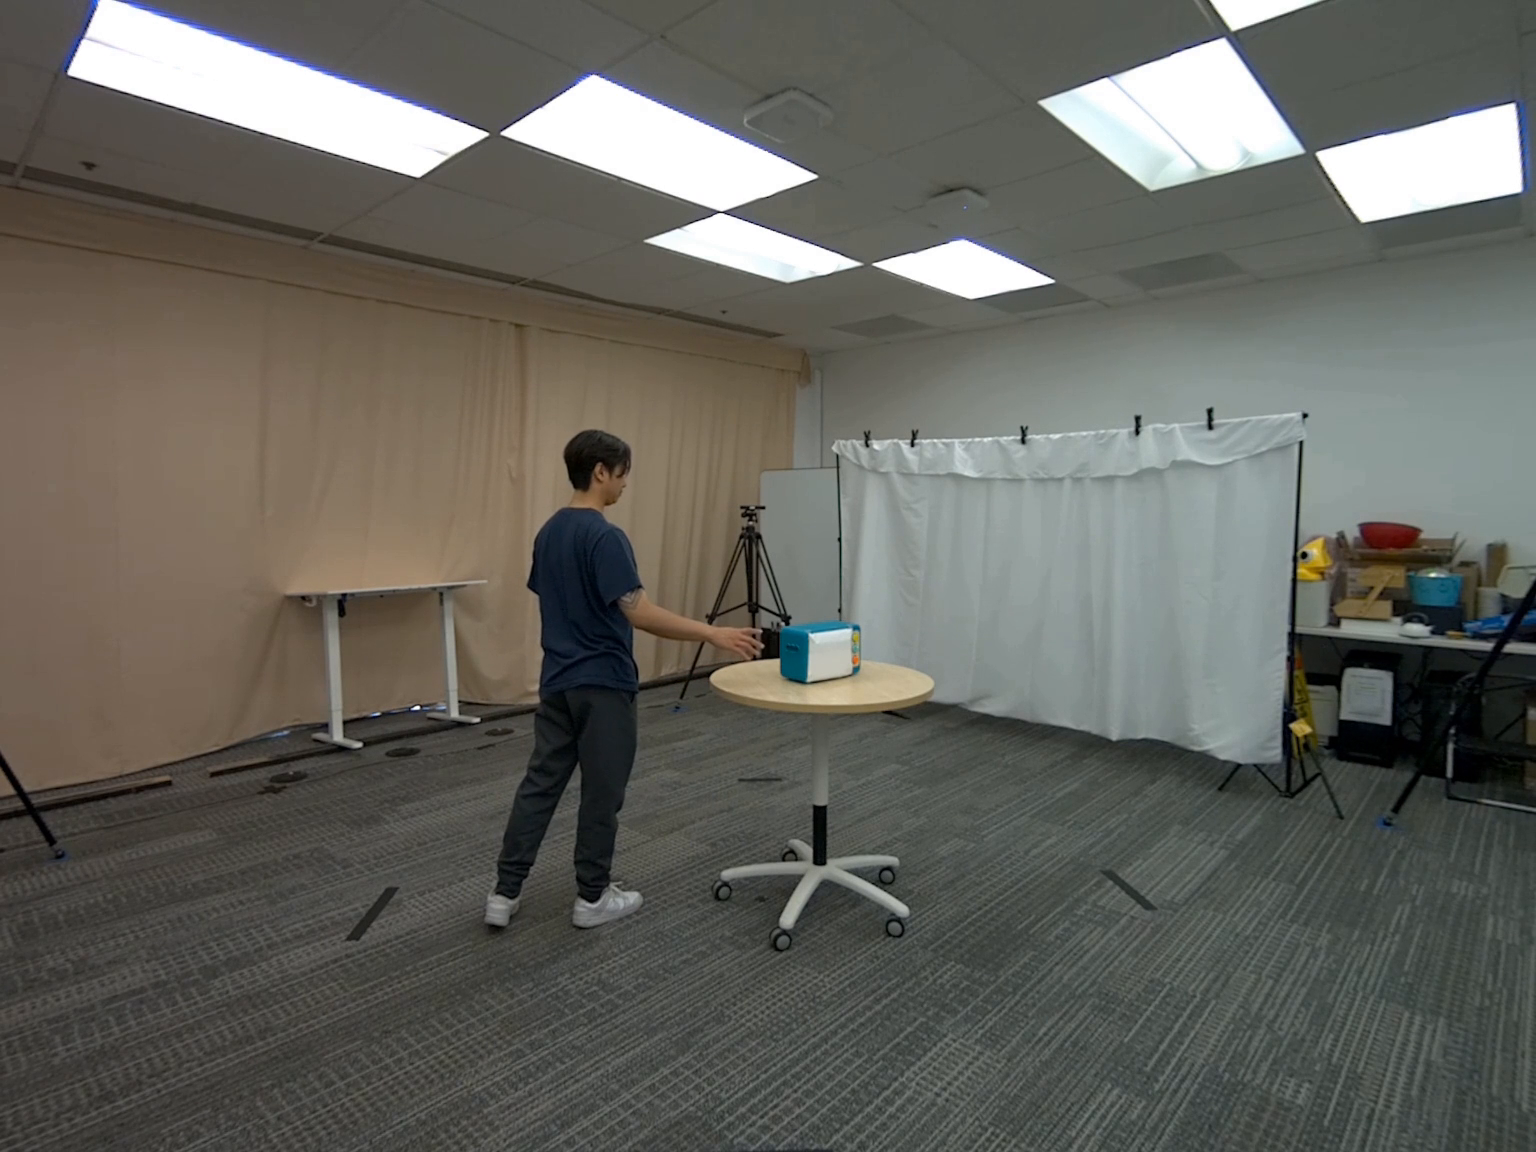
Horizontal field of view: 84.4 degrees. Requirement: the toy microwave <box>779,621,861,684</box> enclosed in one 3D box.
[{"bbox_3d":[0.195,0.261,2.920,0.278,0.183,0.157,-3,5,-38],"label":"toy microwave"}]
